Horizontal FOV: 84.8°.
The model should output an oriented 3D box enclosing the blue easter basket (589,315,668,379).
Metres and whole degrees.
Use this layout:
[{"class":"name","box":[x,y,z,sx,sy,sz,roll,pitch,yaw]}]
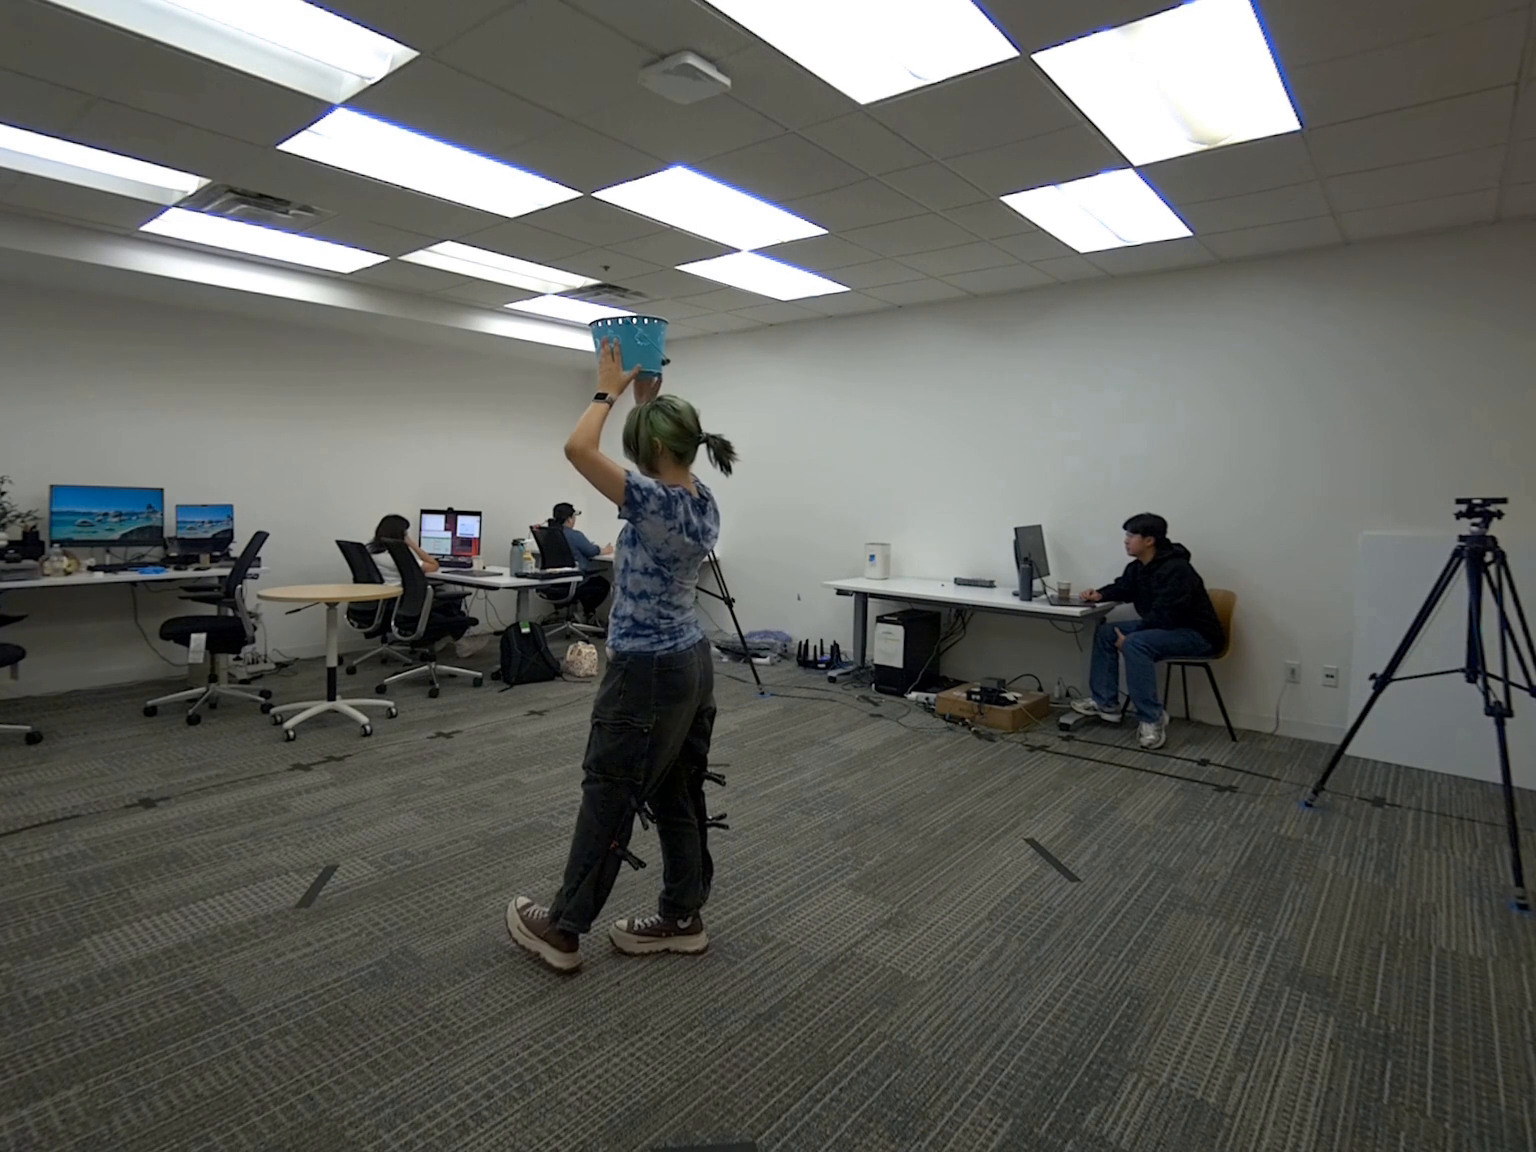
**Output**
[{"class":"blue easter basket","box":[-0.406,-0.668,2.477,0.243,0.155,0.245,-2,5,-2]}]
